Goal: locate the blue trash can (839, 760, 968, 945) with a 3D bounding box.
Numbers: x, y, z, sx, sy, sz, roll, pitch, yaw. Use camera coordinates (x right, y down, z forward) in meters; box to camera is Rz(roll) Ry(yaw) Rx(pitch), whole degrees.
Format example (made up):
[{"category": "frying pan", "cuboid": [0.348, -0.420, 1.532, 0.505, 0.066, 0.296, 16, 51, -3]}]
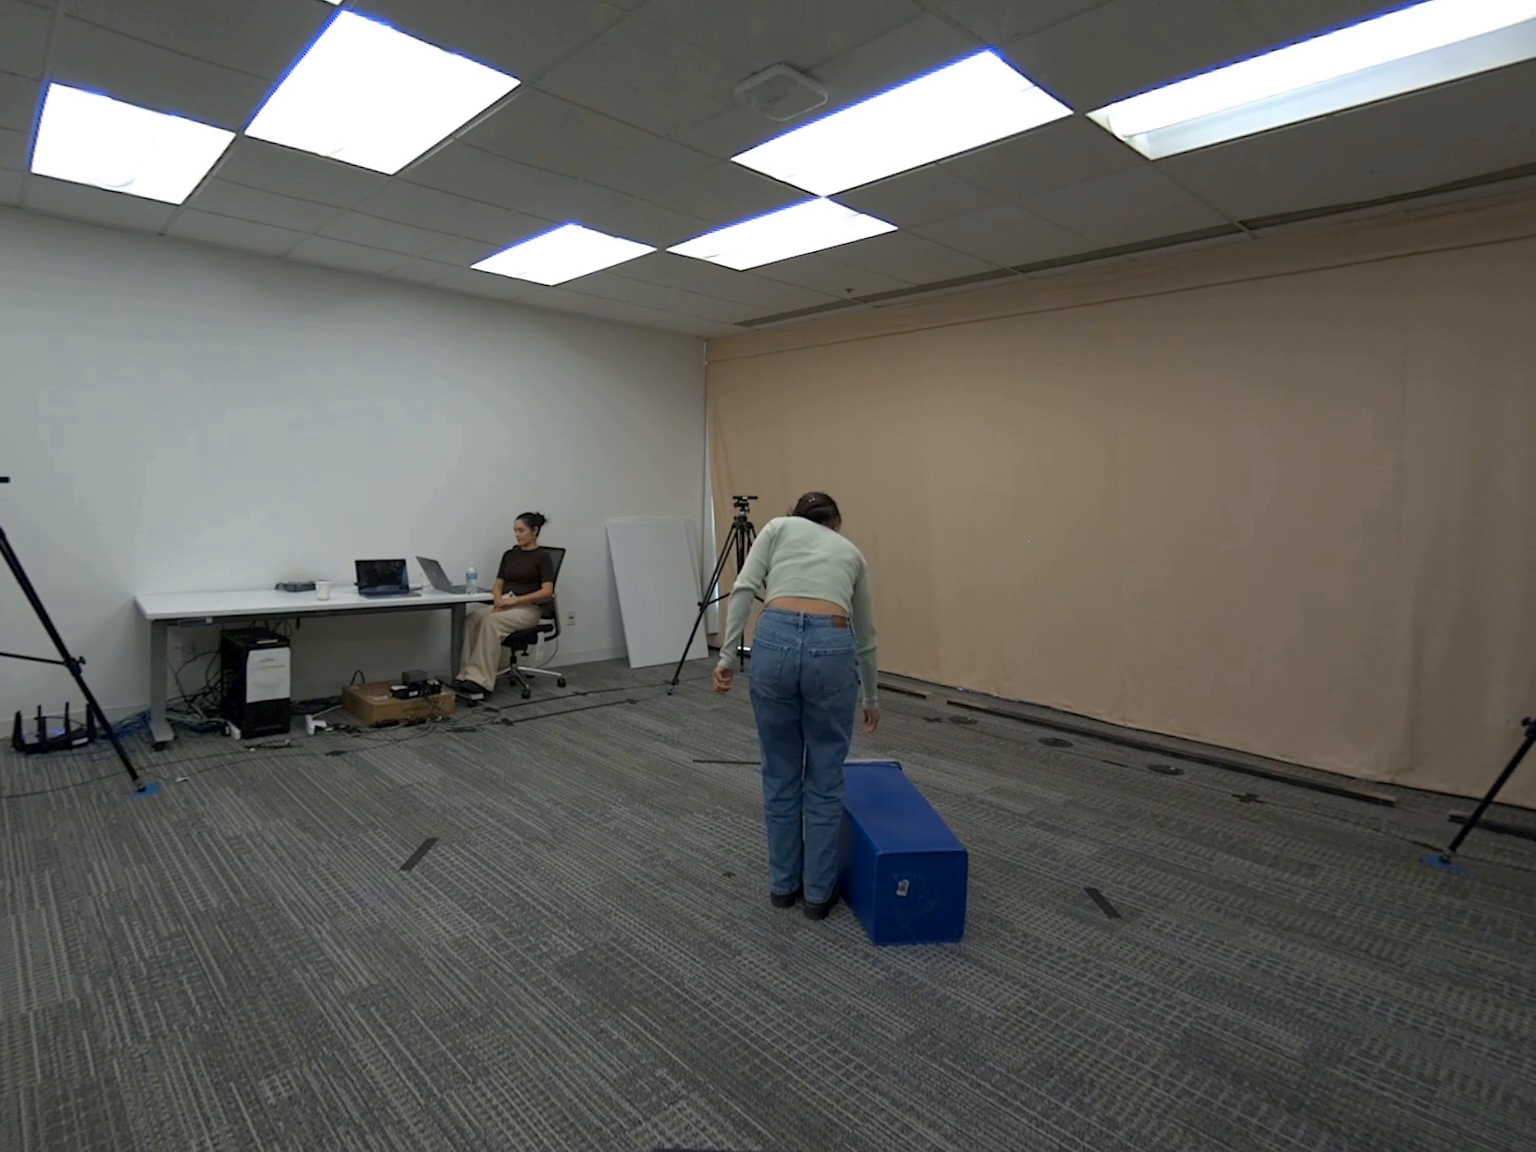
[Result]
[{"category": "blue trash can", "cuboid": [0.400, 0.948, 2.985, 0.371, 0.376, 0.722, 1, 7, -10]}]
